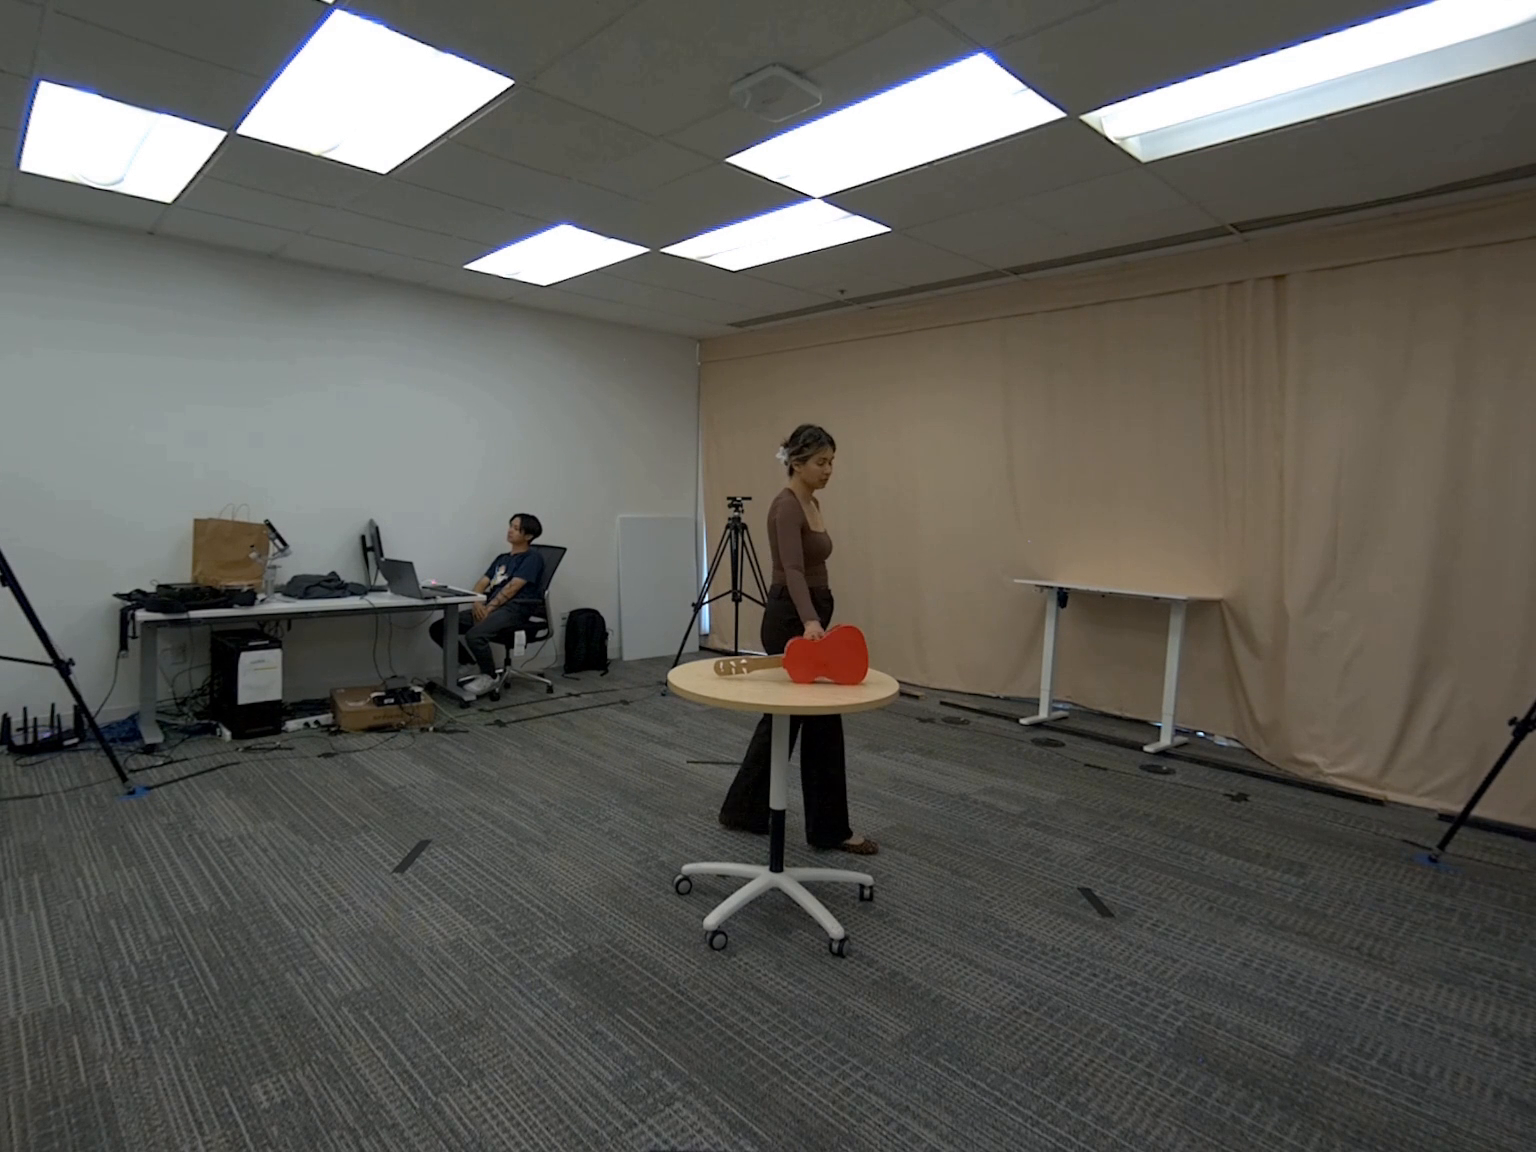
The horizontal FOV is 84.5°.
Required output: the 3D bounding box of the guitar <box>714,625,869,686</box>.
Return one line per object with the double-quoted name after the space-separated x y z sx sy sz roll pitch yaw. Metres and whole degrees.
0.066 0.302 2.750 0.498 0.193 0.071 -15 1 1 "guitar"
